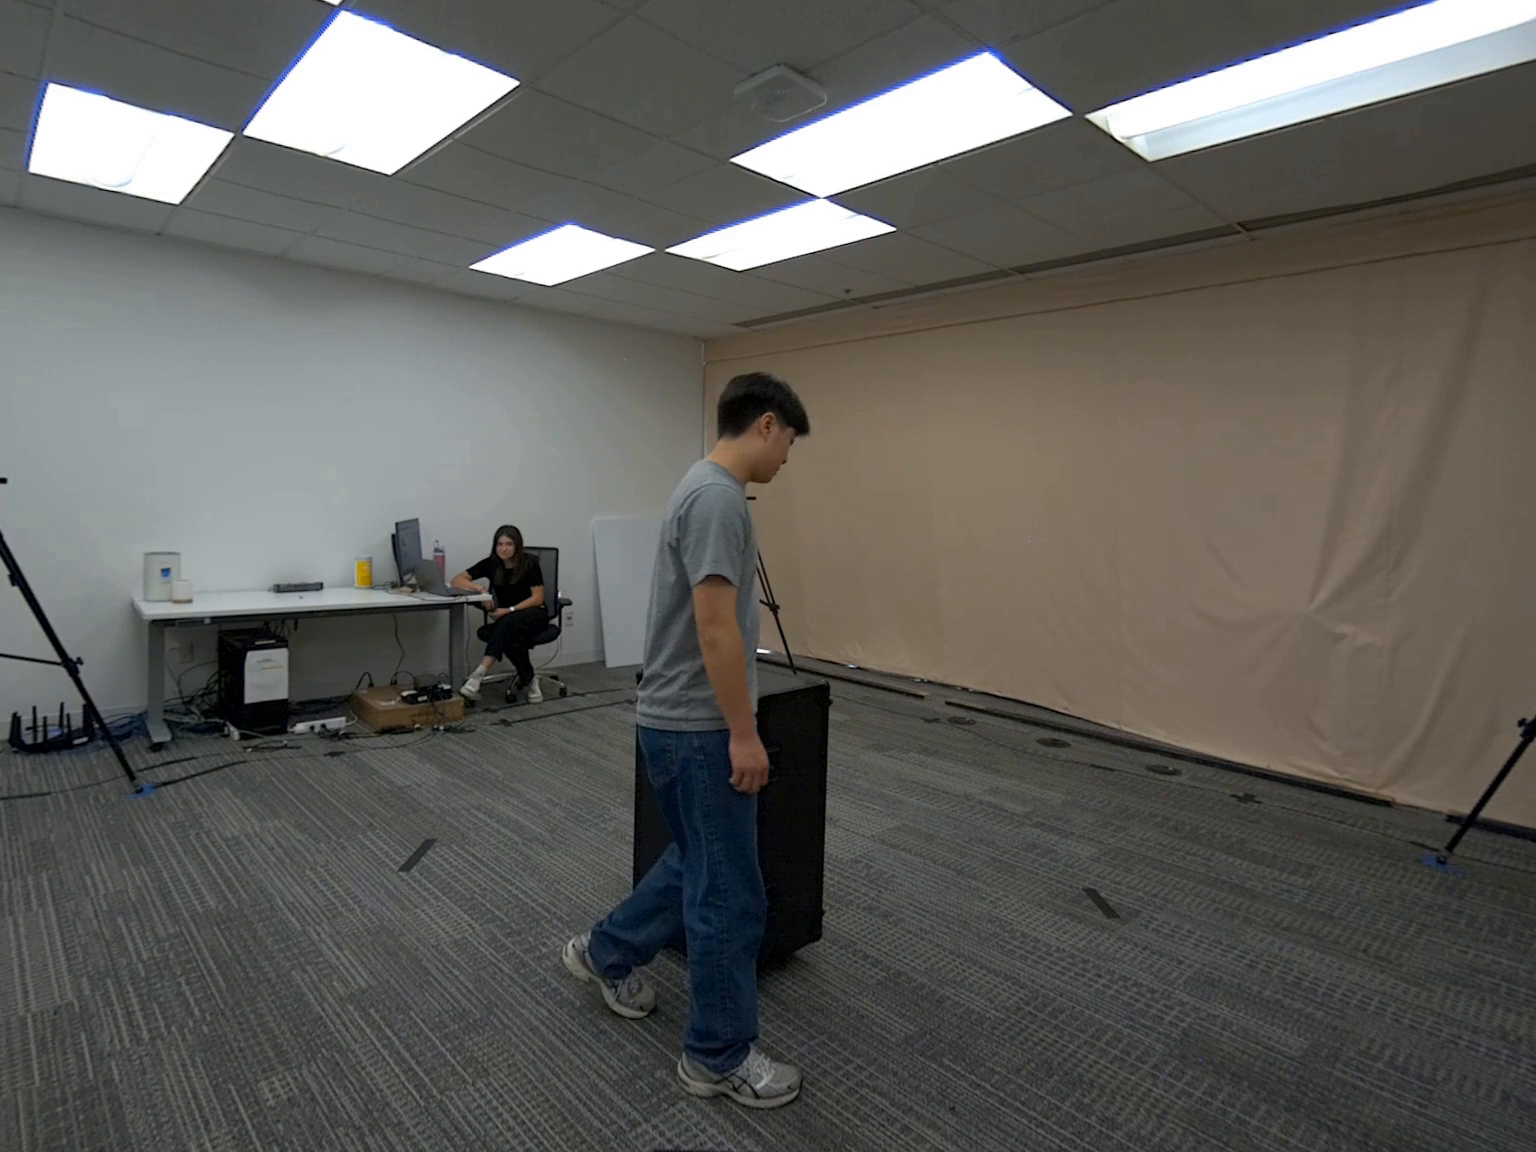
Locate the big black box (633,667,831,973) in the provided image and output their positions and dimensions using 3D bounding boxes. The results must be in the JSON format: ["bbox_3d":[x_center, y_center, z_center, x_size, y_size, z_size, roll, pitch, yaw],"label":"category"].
[{"bbox_3d":[-0.120,0.732,2.576,0.534,0.860,0.387,5,4,44],"label":"big black box"}]
